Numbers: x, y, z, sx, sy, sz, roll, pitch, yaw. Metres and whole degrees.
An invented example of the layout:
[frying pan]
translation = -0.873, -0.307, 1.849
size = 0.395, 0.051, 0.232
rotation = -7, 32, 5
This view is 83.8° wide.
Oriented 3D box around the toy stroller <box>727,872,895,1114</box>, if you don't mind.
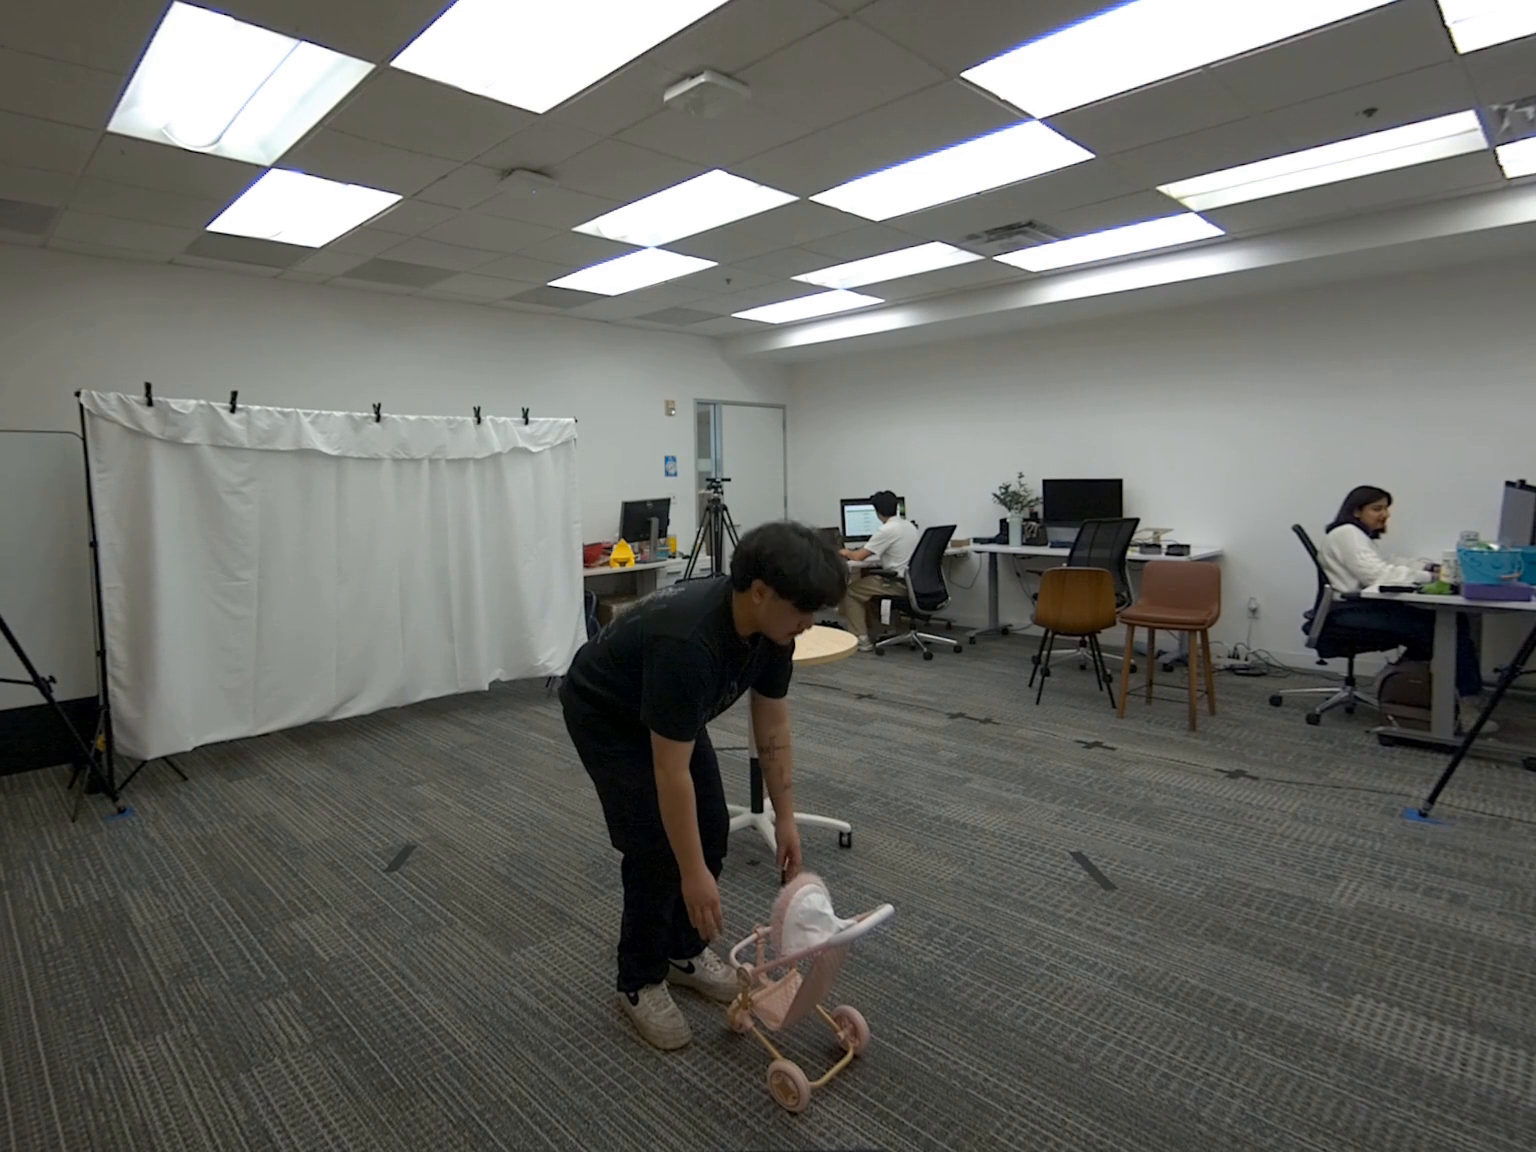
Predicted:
[toy stroller]
translation = 0.075, 0.945, 2.021
size = 0.274, 0.529, 0.354
rotation = -7, 23, -45
